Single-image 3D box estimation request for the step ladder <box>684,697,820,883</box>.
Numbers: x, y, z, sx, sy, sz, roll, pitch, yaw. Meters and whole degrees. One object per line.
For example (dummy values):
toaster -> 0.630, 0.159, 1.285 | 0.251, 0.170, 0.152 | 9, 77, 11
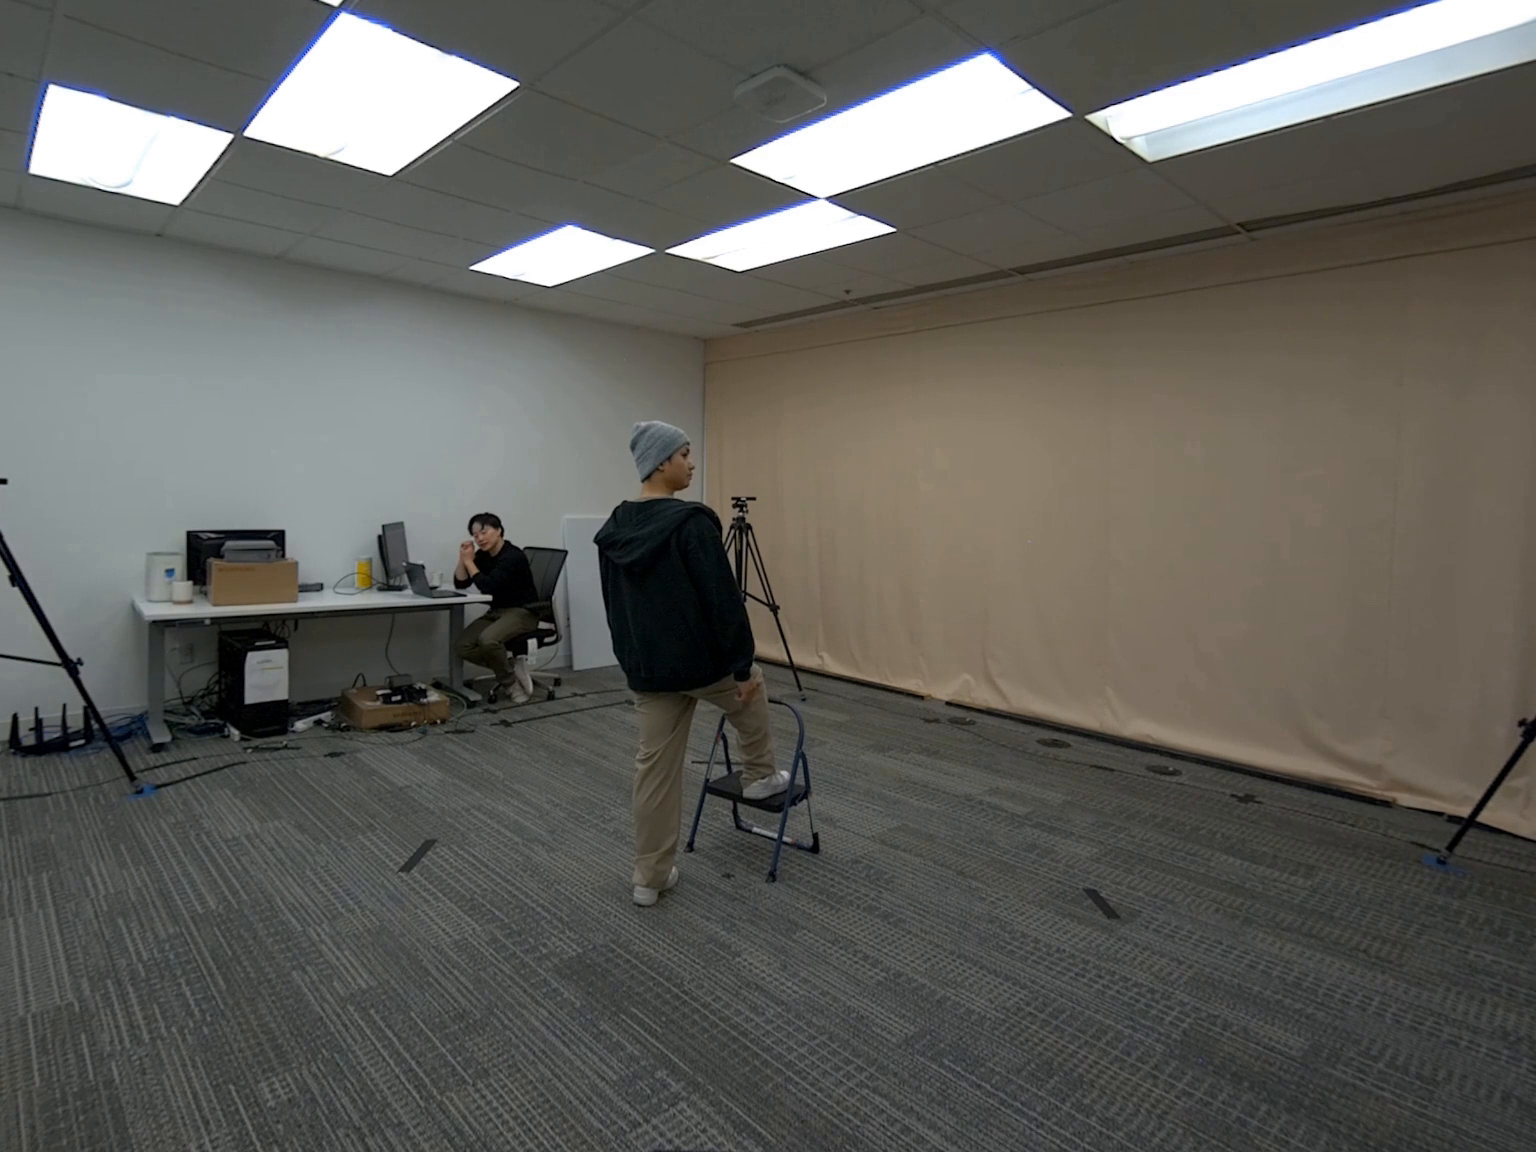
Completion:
step ladder -> -0.055, 0.789, 3.307 | 0.441, 0.605, 0.342 | 4, 4, 36
